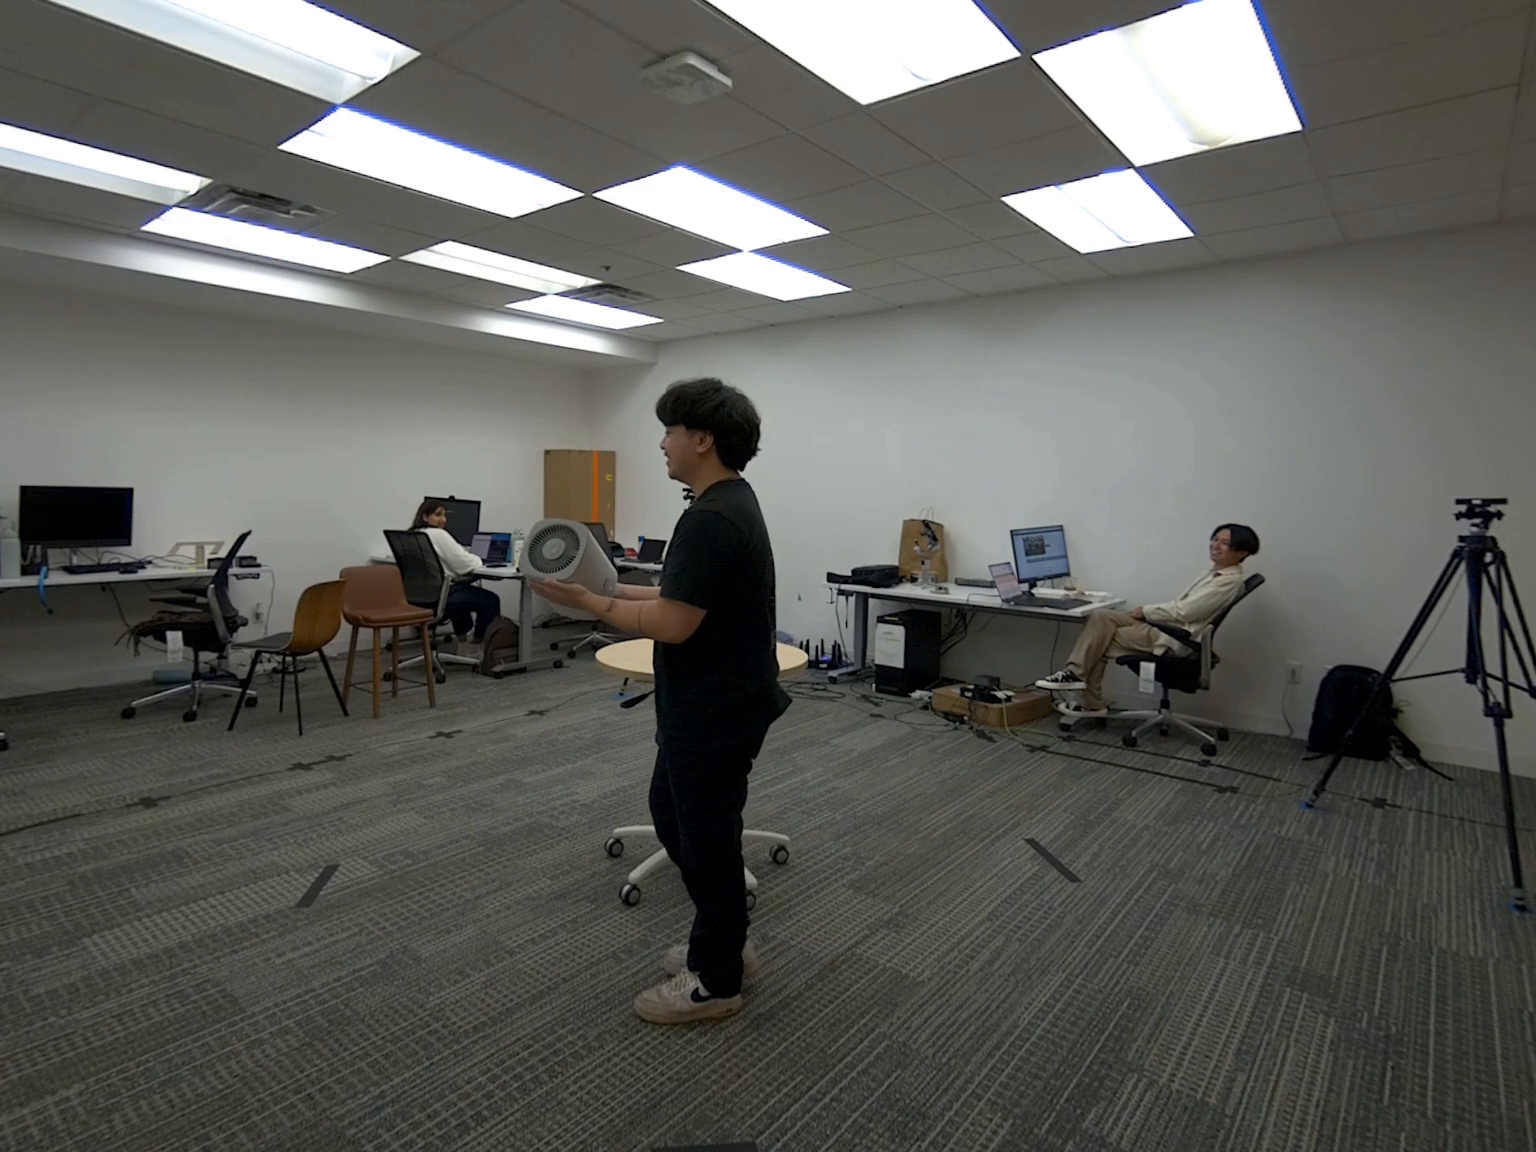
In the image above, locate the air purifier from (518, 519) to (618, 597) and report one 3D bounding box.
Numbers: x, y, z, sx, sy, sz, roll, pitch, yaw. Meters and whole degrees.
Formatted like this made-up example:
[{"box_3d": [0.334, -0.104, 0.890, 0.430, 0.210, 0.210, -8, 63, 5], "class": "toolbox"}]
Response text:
[{"box_3d": [-0.528, -0.014, 2.253, 0.175, 0.174, 0.257, 7, -26, 14], "class": "air purifier"}]
